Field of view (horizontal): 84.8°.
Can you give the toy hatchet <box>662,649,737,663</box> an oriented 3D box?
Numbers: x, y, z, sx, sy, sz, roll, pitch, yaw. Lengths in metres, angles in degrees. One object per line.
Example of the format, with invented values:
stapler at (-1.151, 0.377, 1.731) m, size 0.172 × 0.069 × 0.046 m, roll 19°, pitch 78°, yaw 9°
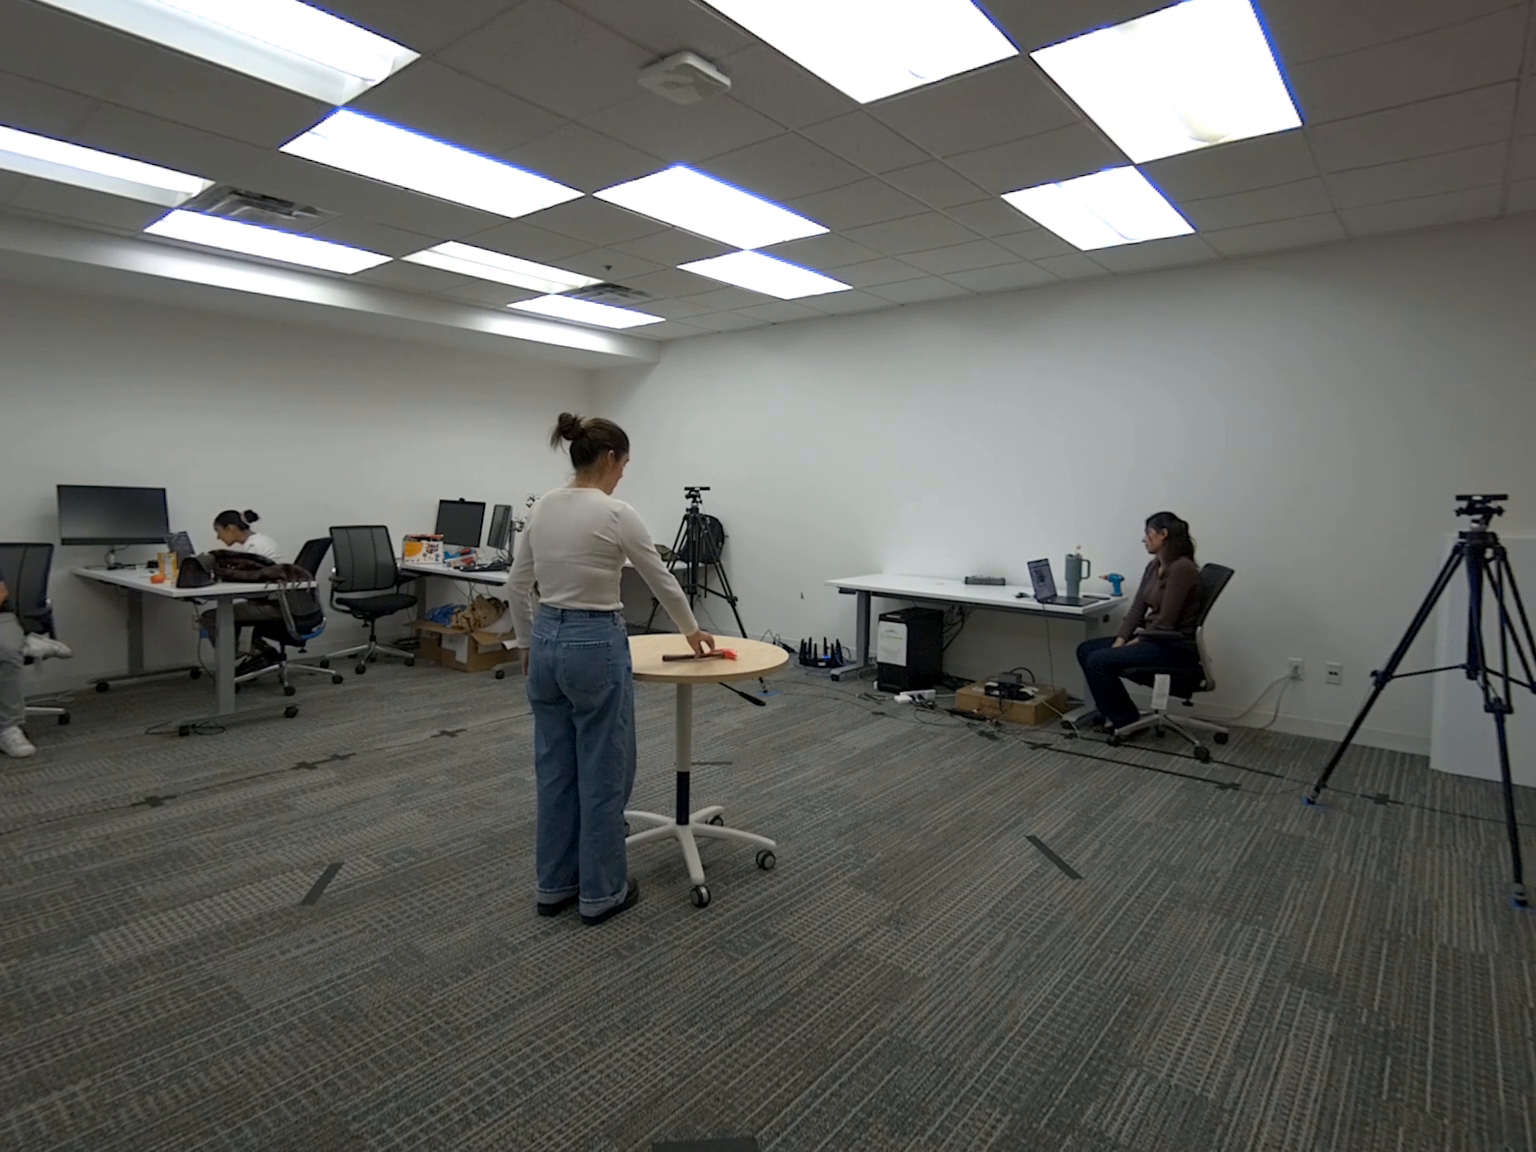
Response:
toy hatchet at (-0.251, 0.280, 3.036) m, size 0.268 × 0.029 × 0.132 m, roll -1°, pitch 7°, yaw -6°
